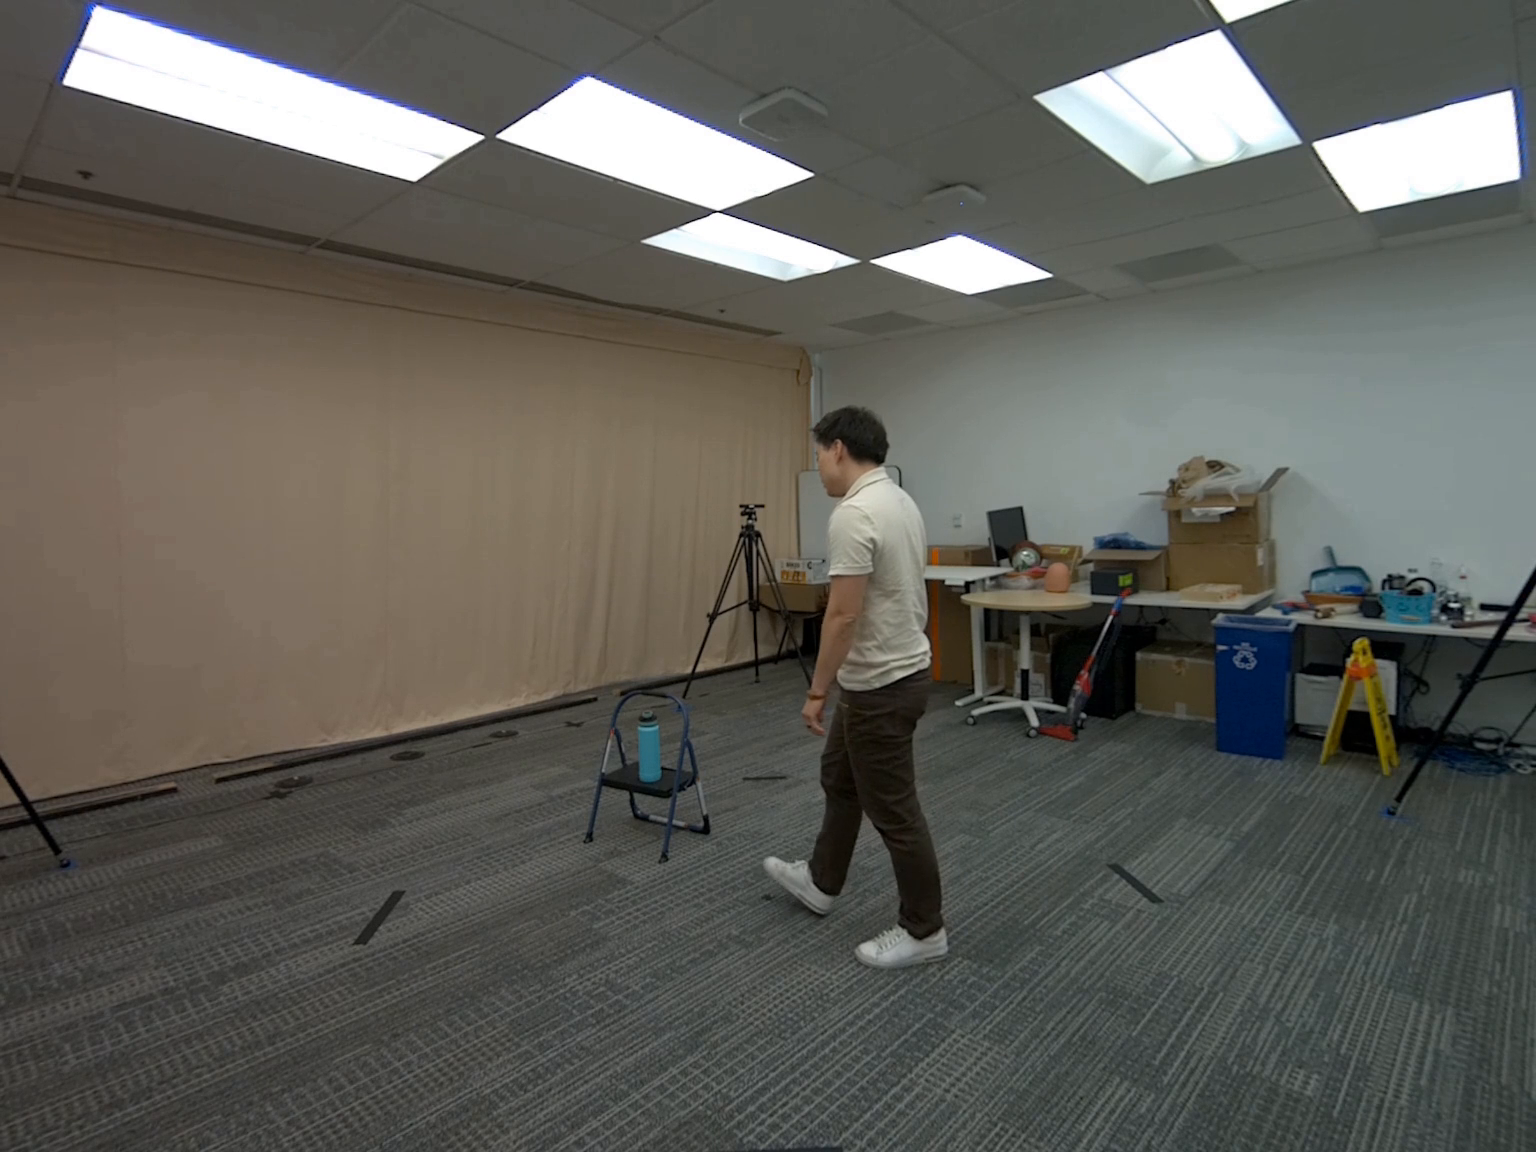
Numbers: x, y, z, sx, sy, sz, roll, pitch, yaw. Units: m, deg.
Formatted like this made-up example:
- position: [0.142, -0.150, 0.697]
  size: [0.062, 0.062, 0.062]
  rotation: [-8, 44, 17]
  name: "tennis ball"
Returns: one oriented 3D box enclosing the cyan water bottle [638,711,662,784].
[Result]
- position: [-0.492, 0.705, 3.506]
  size: [0.092, 0.283, 0.092]
  rotation: [-1, 1, -2]
  name: "cyan water bottle"
